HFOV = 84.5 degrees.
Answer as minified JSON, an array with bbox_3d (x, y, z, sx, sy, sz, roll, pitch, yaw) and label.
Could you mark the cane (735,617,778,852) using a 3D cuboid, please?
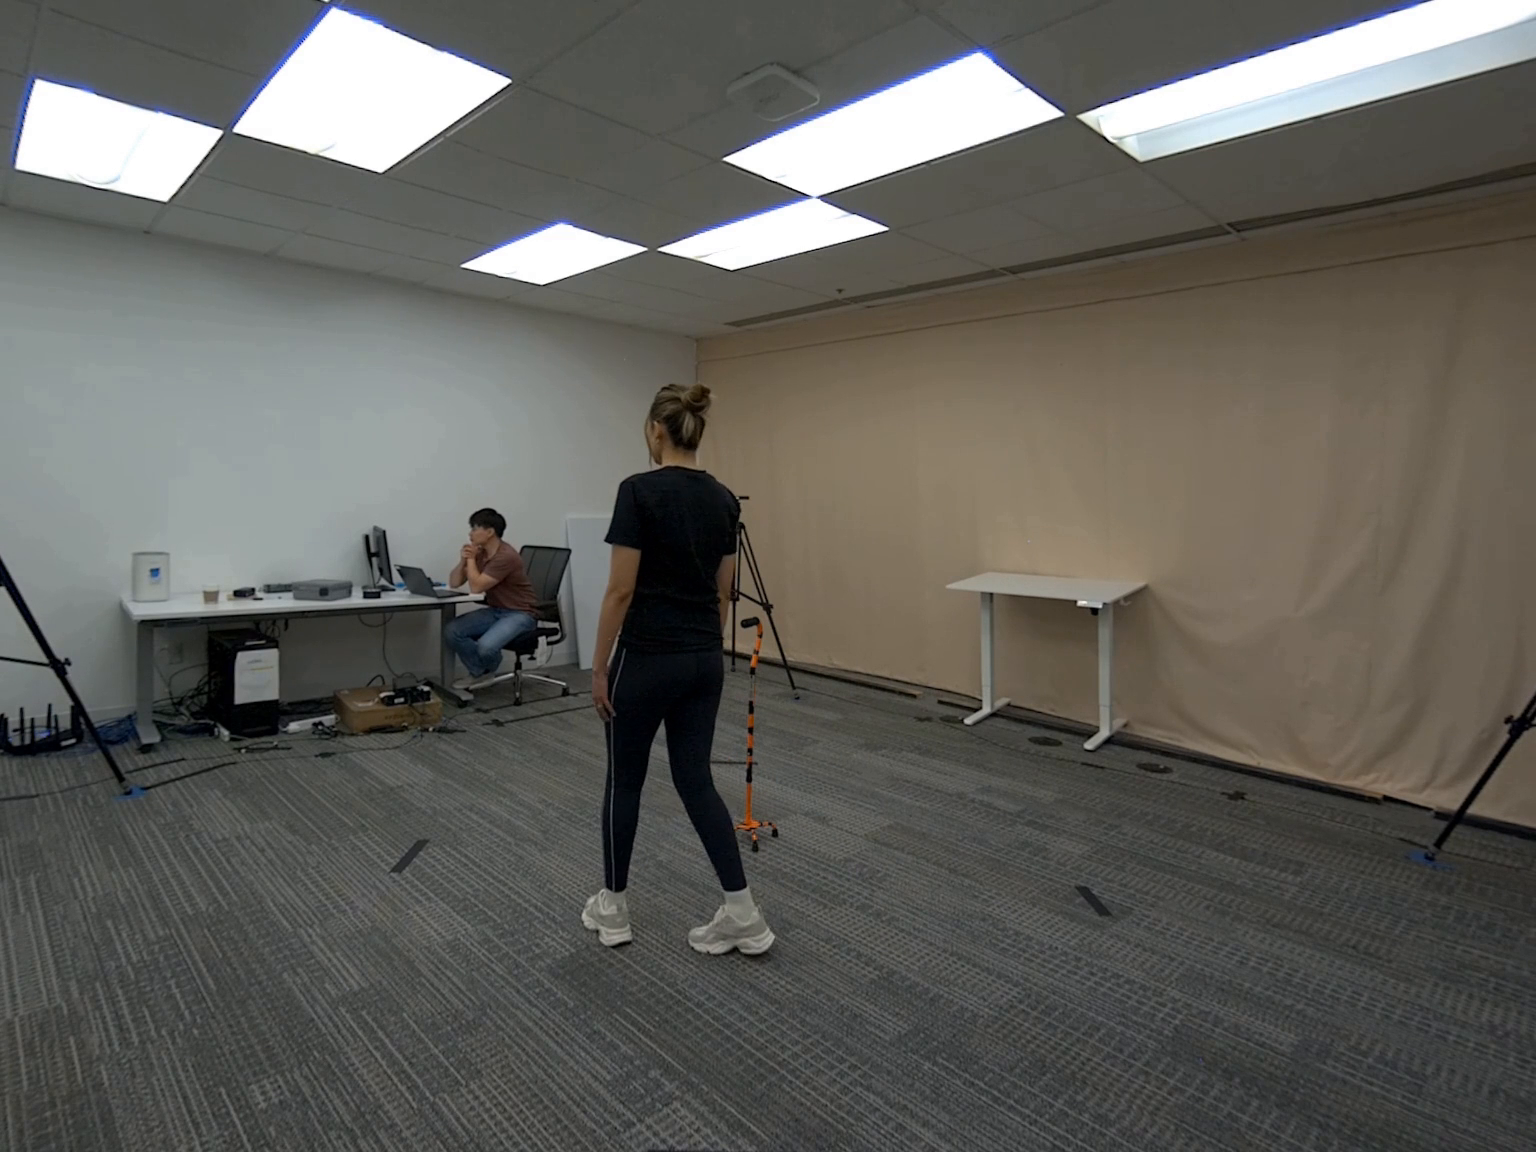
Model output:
[{"bbox_3d":[-0.060,0.623,3.411,0.154,0.906,0.203,3,3,26],"label":"cane"}]
